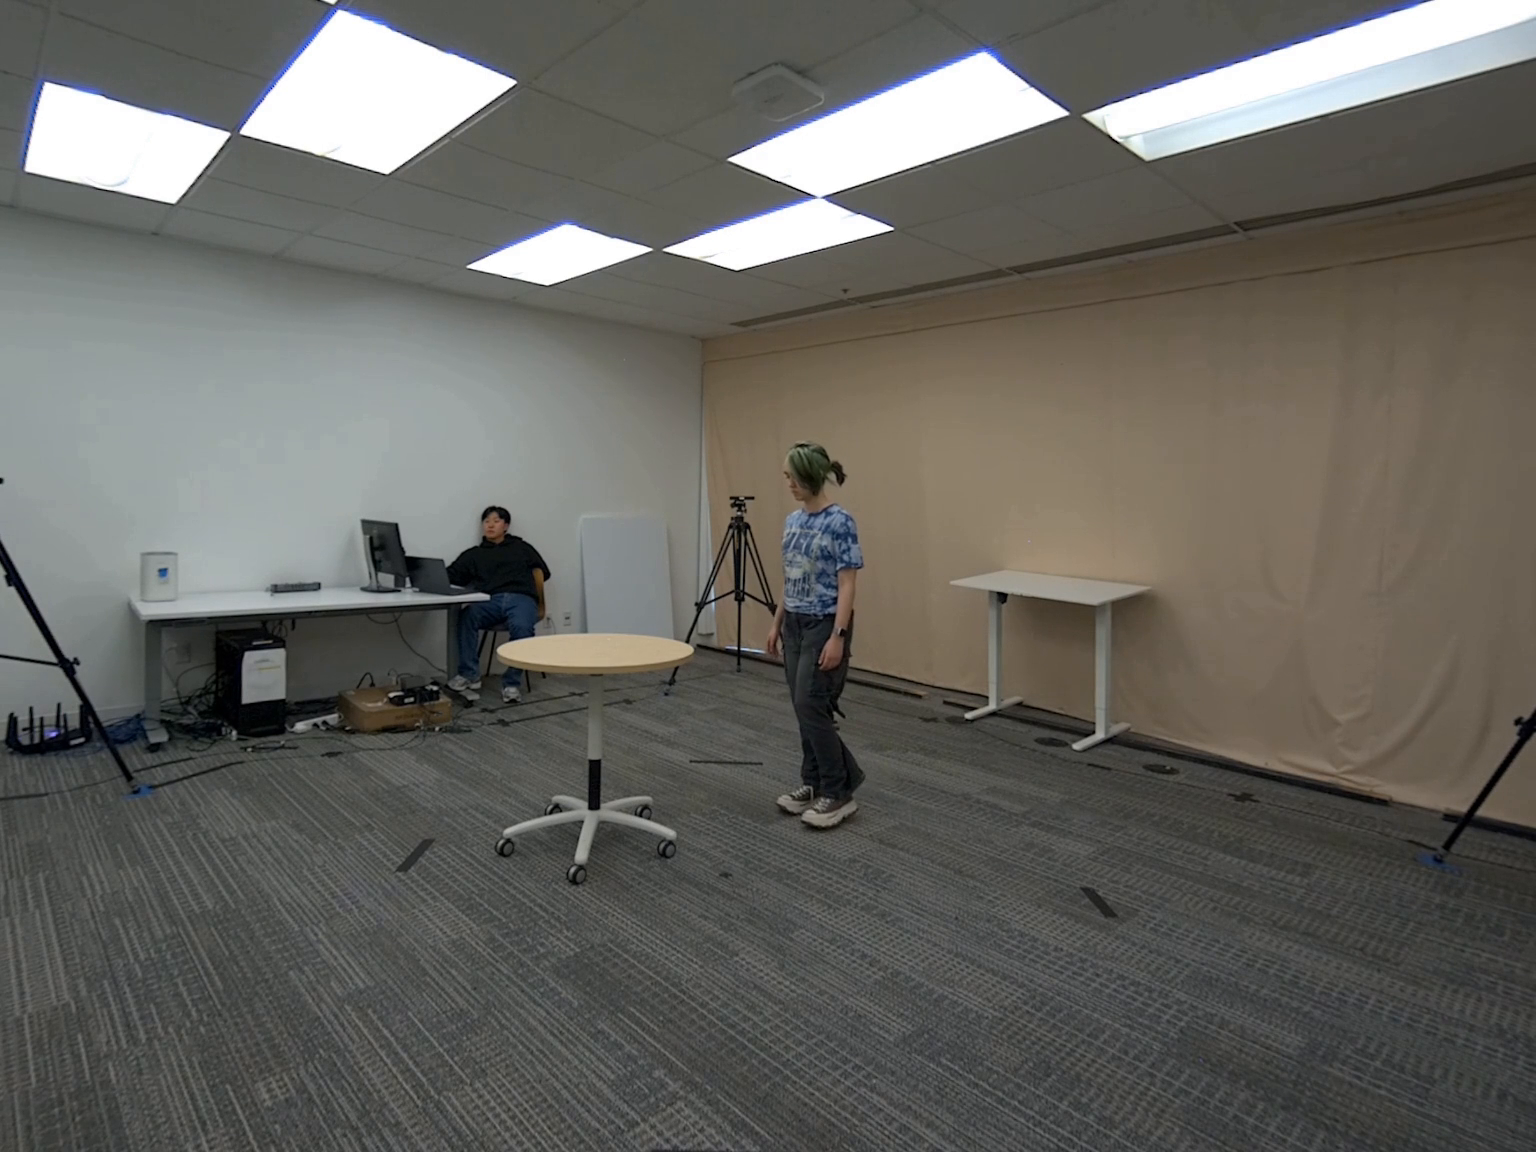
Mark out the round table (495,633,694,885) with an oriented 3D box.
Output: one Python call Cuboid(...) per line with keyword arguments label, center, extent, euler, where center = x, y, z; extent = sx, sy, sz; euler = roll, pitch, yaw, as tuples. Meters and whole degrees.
Cuboid(label="round table", center=(-0.700, 0.683, 3.344), extent=(0.763, 0.792, 0.766), euler=(2, 4, -1))
